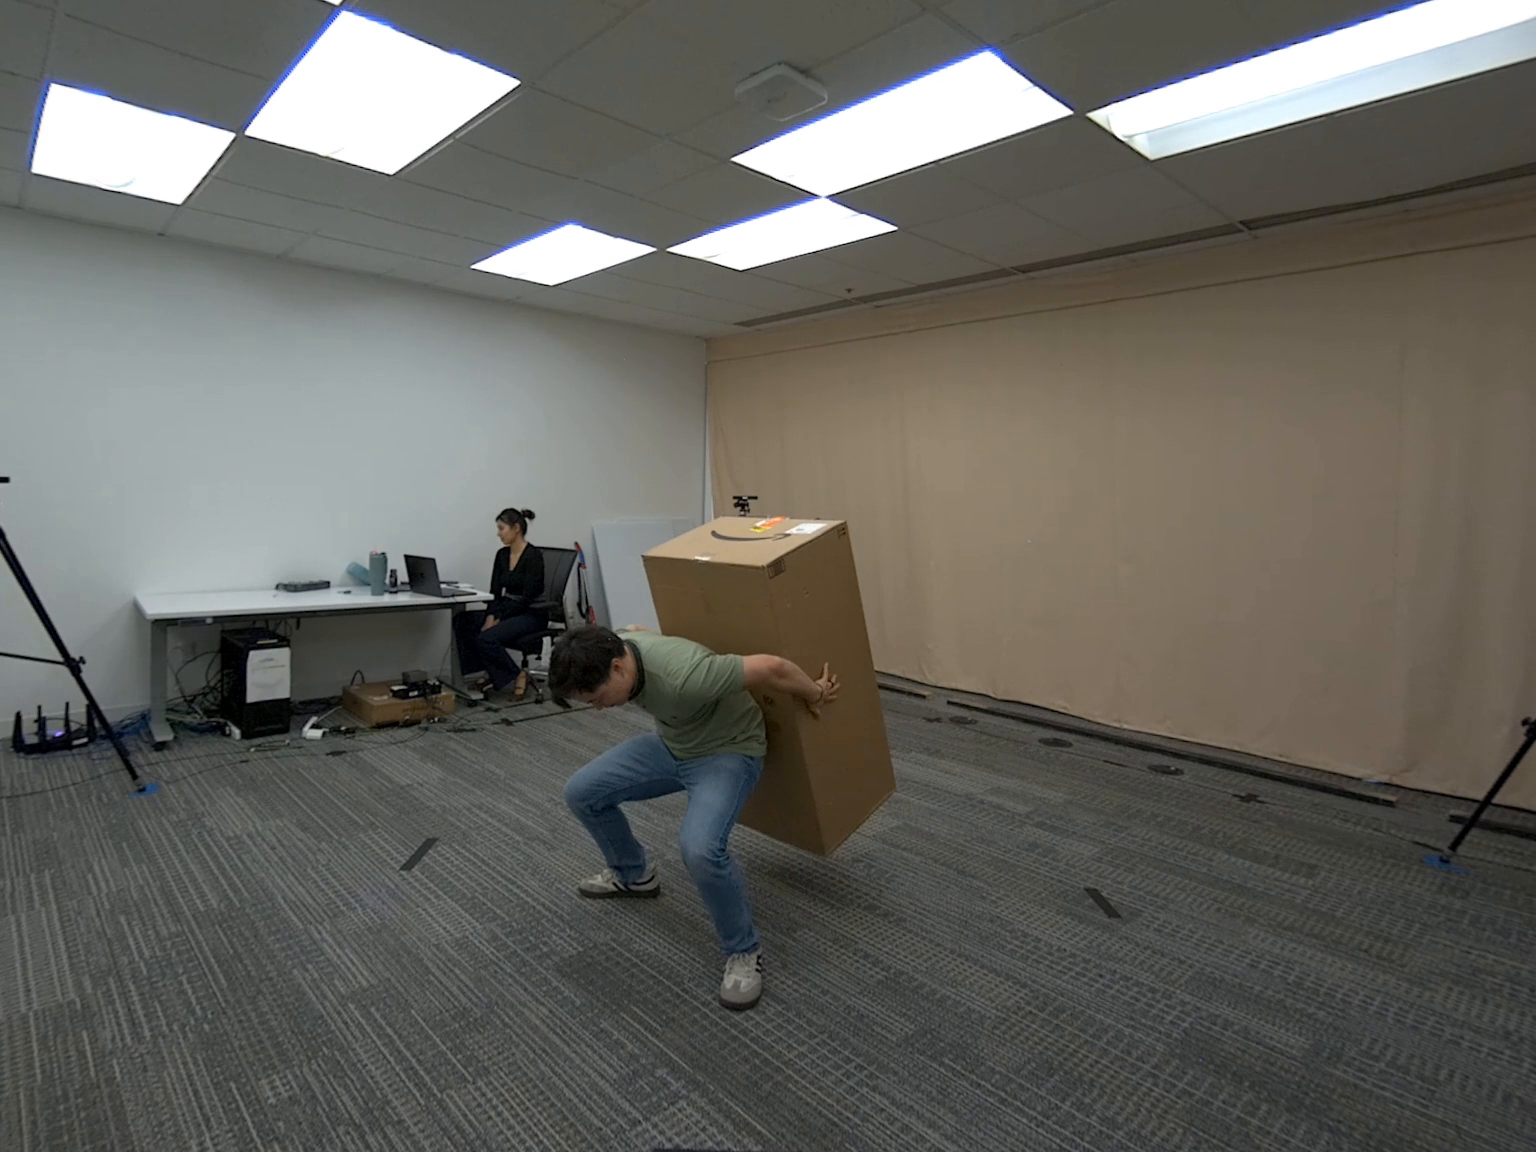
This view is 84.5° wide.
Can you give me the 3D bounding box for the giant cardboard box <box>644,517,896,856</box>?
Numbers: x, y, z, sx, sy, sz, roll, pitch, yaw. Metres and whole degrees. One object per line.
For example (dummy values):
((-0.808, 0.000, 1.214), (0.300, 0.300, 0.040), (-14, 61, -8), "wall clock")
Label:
((0.012, 0.346, 2.938), (0.592, 1.011, 0.421), (5, 23, 44), "giant cardboard box")
